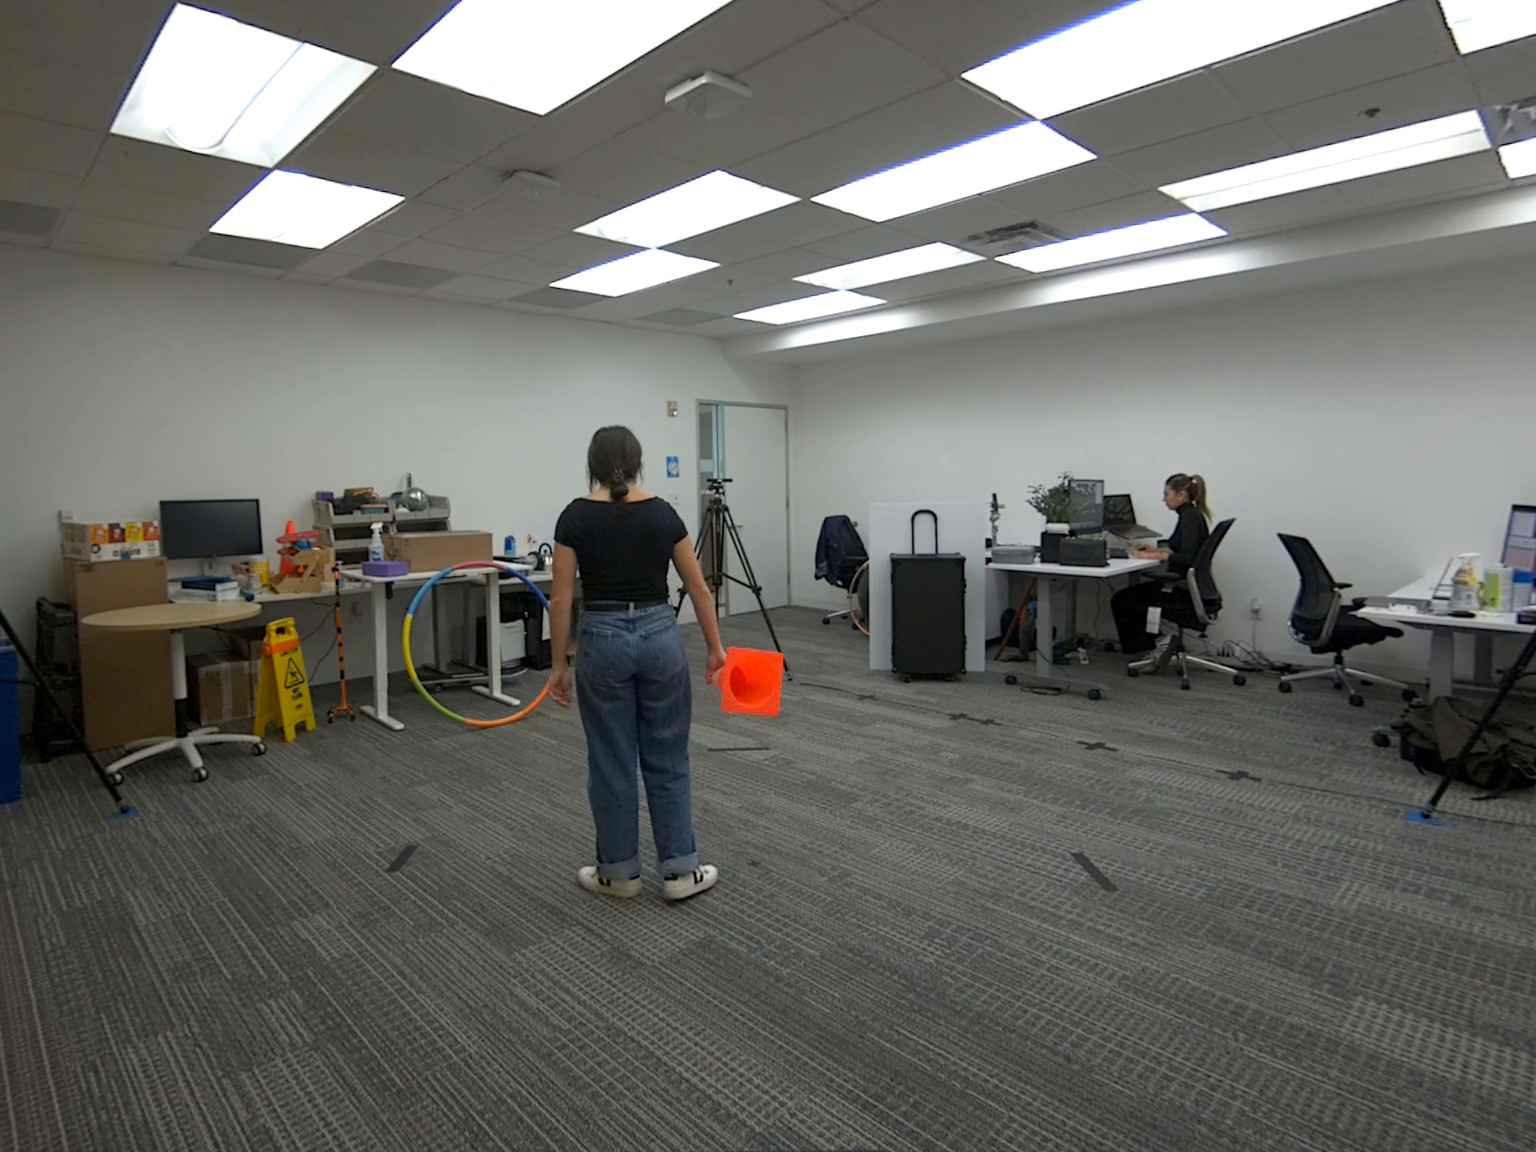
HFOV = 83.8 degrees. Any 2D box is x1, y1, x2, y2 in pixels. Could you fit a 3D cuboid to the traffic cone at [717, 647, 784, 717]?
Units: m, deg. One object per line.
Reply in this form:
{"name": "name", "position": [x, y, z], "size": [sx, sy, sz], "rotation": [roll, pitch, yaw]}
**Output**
{"name": "traffic cone", "position": [-0.144, 0.334, 2.881], "size": [0.199, 0.206, 0.390], "rotation": [10, -9, -23]}
